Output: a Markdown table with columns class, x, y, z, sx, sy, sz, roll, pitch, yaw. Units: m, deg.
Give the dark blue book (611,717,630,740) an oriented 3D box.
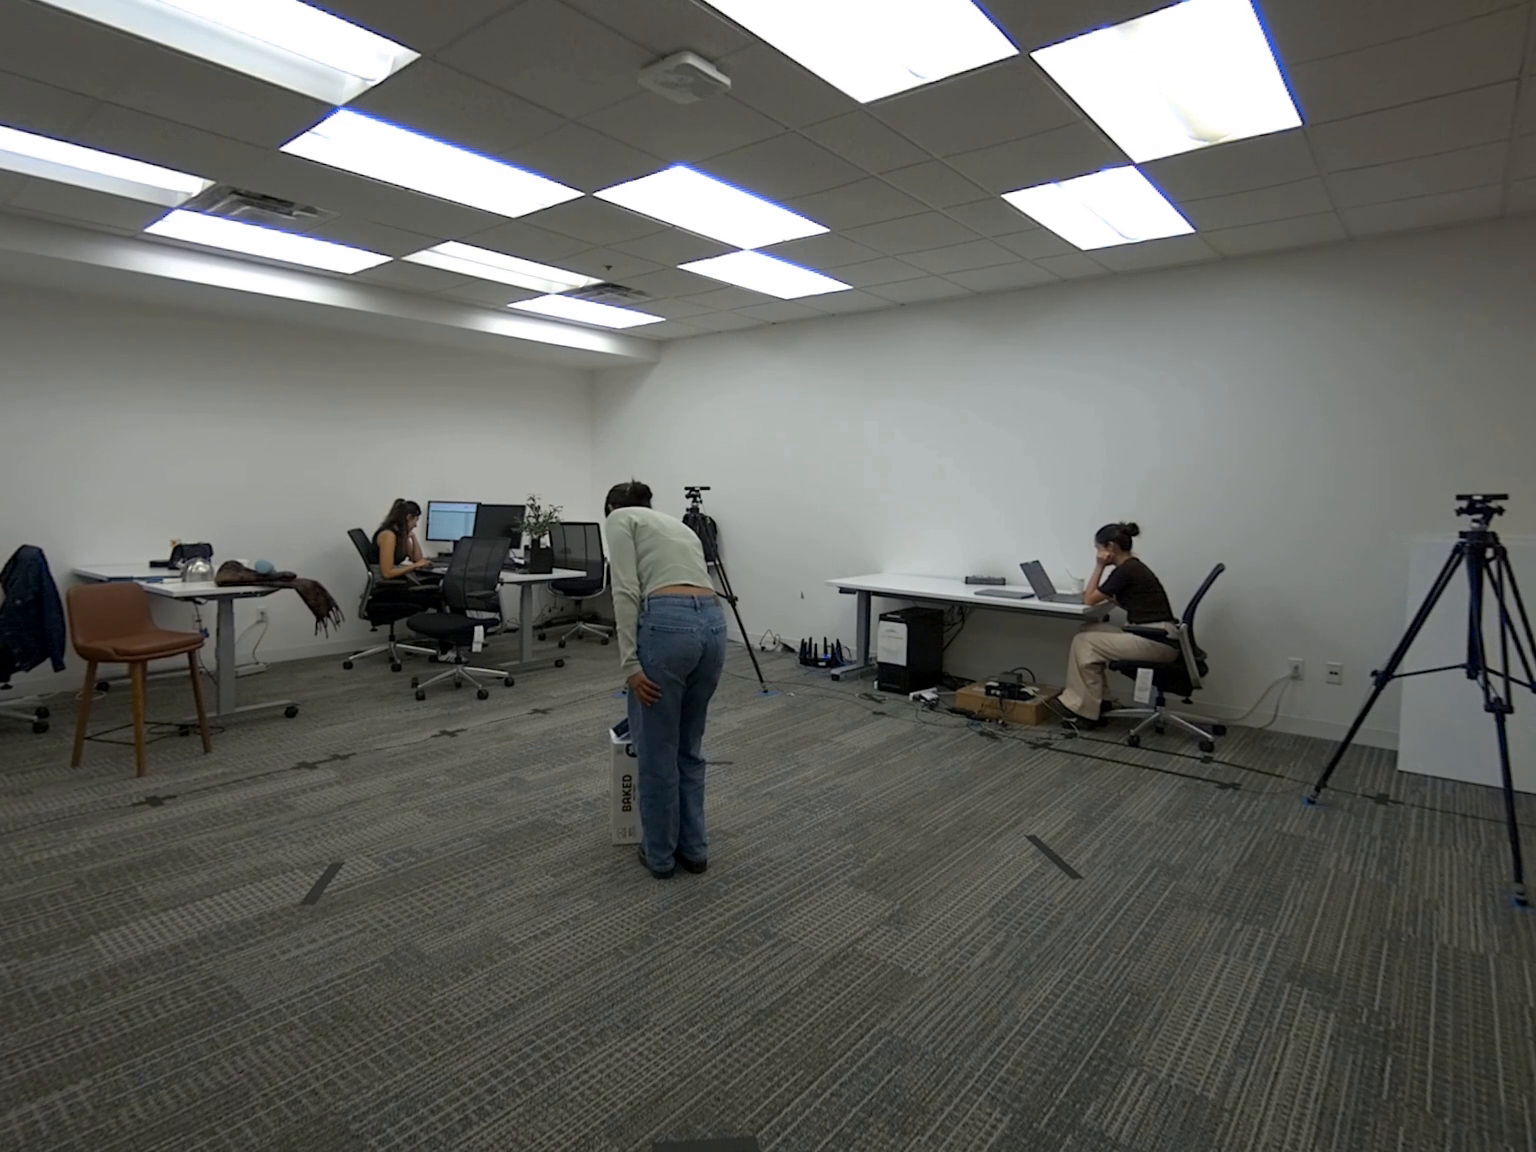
| class | x | y | z | sx | sy | sz | roll | pitch | yaw |
| --- | --- | --- | --- | --- | --- | --- | --- | --- | --- |
| dark blue book | -0.499 | 0.535 | 3.364 | 0.245 | 0.046 | 0.161 | -39 | -7 | 11 |
